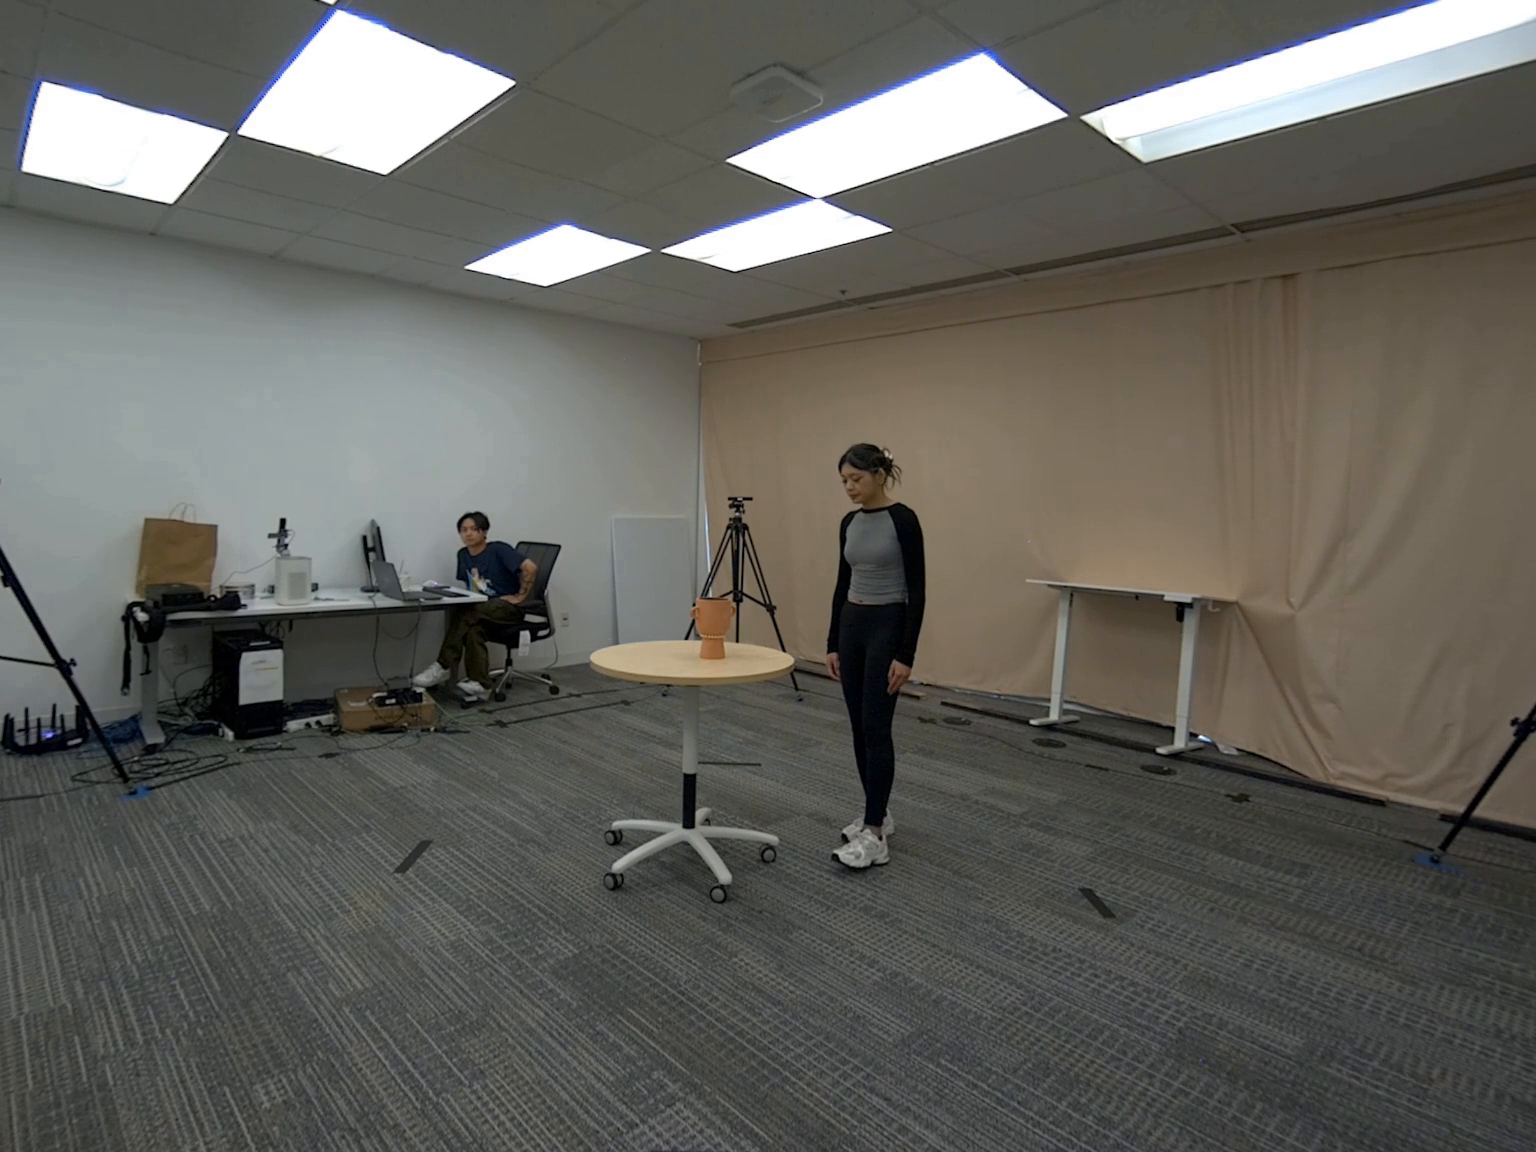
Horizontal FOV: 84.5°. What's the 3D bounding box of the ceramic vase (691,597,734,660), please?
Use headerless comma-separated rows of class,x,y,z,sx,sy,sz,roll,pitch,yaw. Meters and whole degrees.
ceramic vase,-0.215,0.196,3.168,0.160,0.219,0.134,1,4,7
